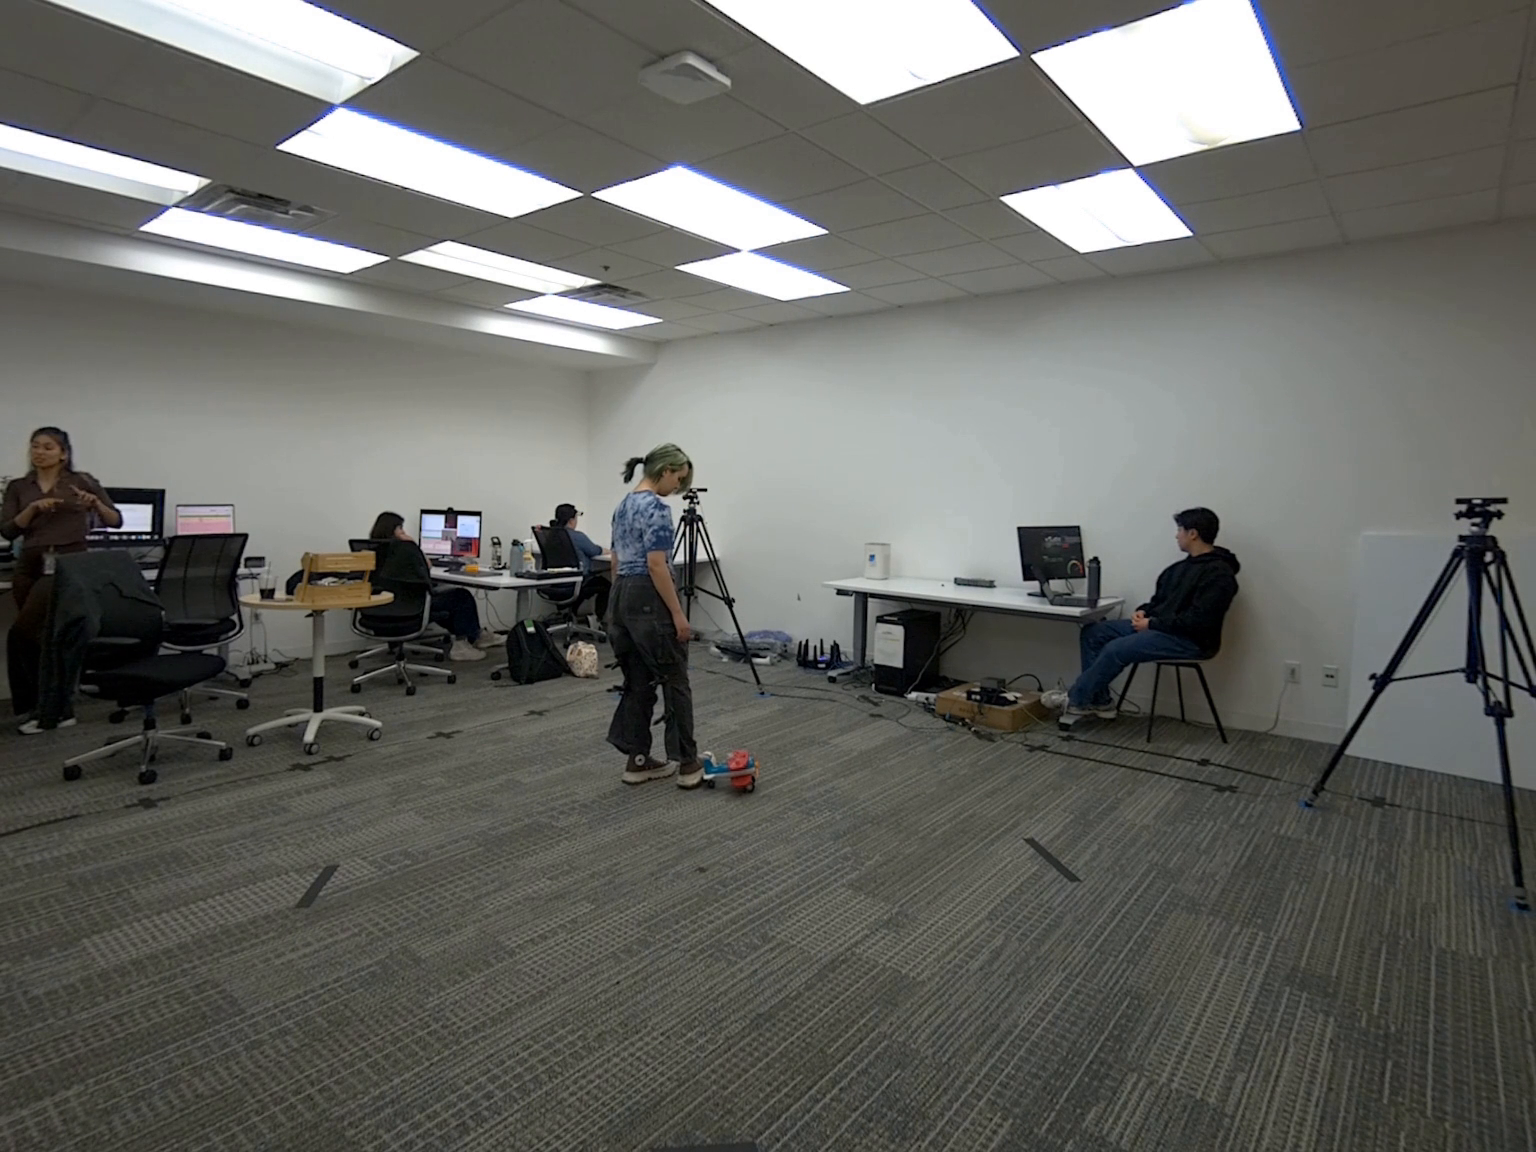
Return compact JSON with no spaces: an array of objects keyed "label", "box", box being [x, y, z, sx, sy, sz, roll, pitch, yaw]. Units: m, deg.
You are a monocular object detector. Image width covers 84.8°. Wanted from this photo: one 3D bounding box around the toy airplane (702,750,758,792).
[{"label":"toy airplane","box":[-0.185,0.918,3.954,0.253,0.156,0.258,2,6,-25]}]
